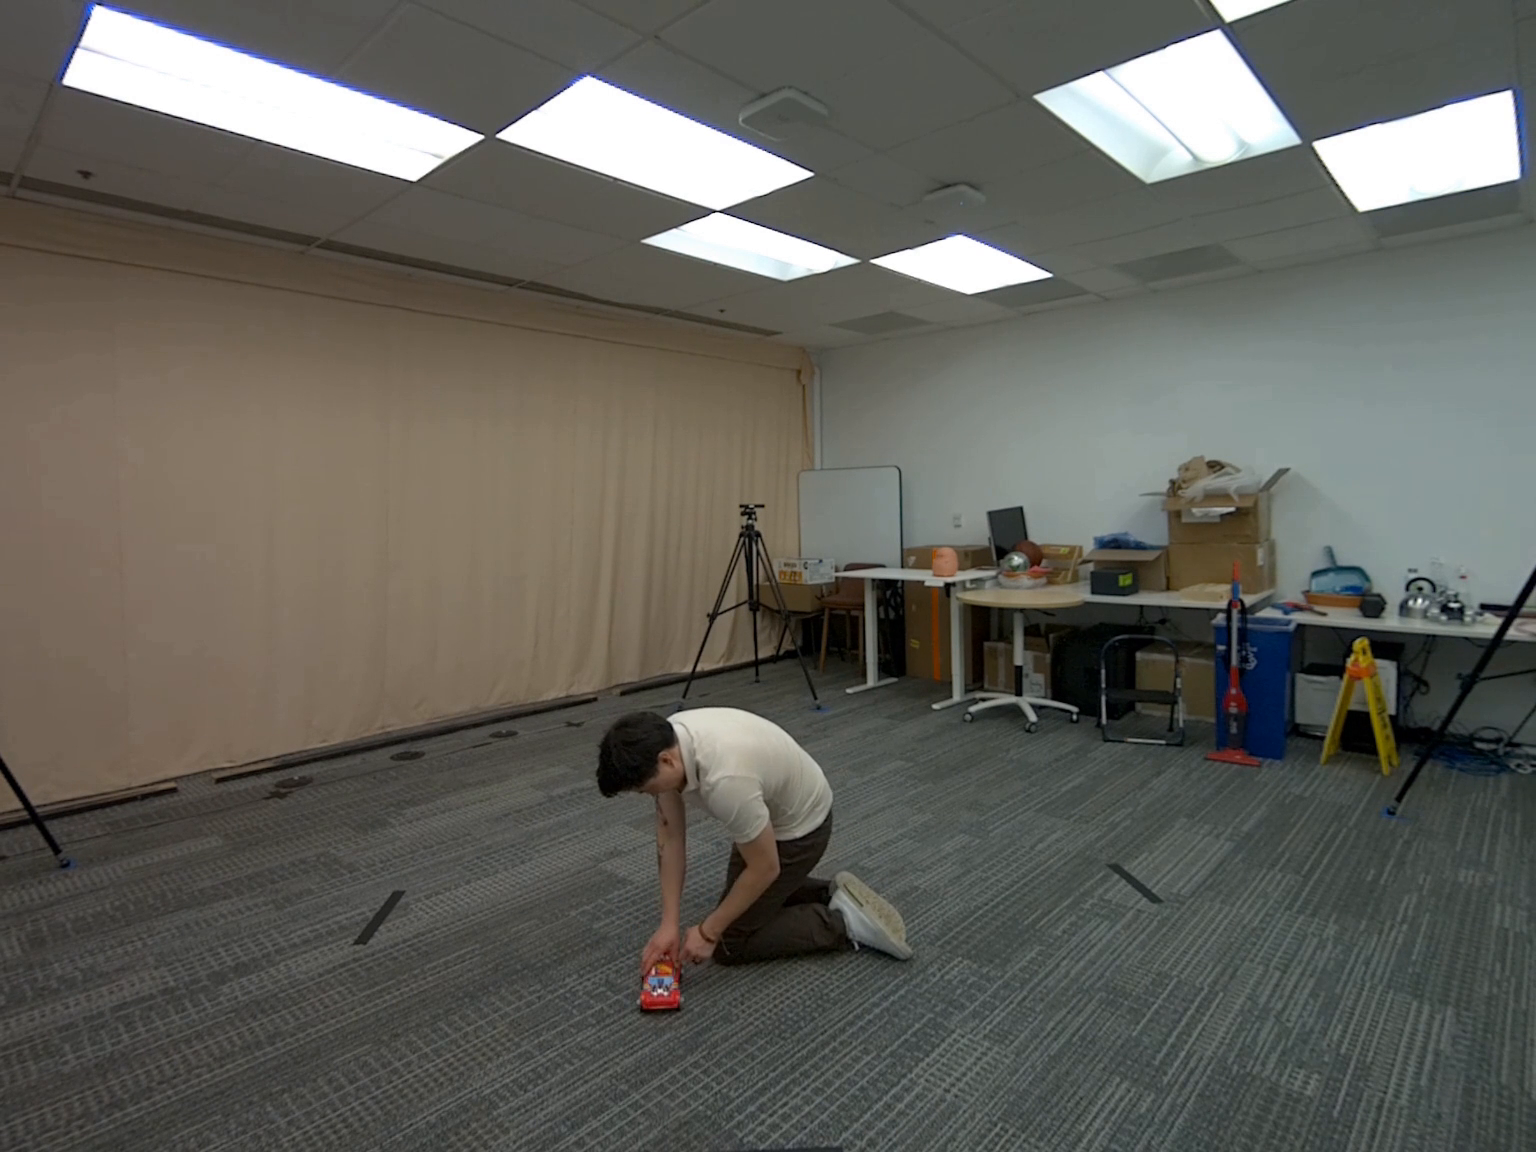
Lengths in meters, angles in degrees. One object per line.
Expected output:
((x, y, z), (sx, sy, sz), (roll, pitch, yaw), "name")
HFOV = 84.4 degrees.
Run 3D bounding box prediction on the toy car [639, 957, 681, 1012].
((-0.307, 1.164, 2.419), (0.129, 0.082, 0.258), (-2, 14, -7), "toy car")
